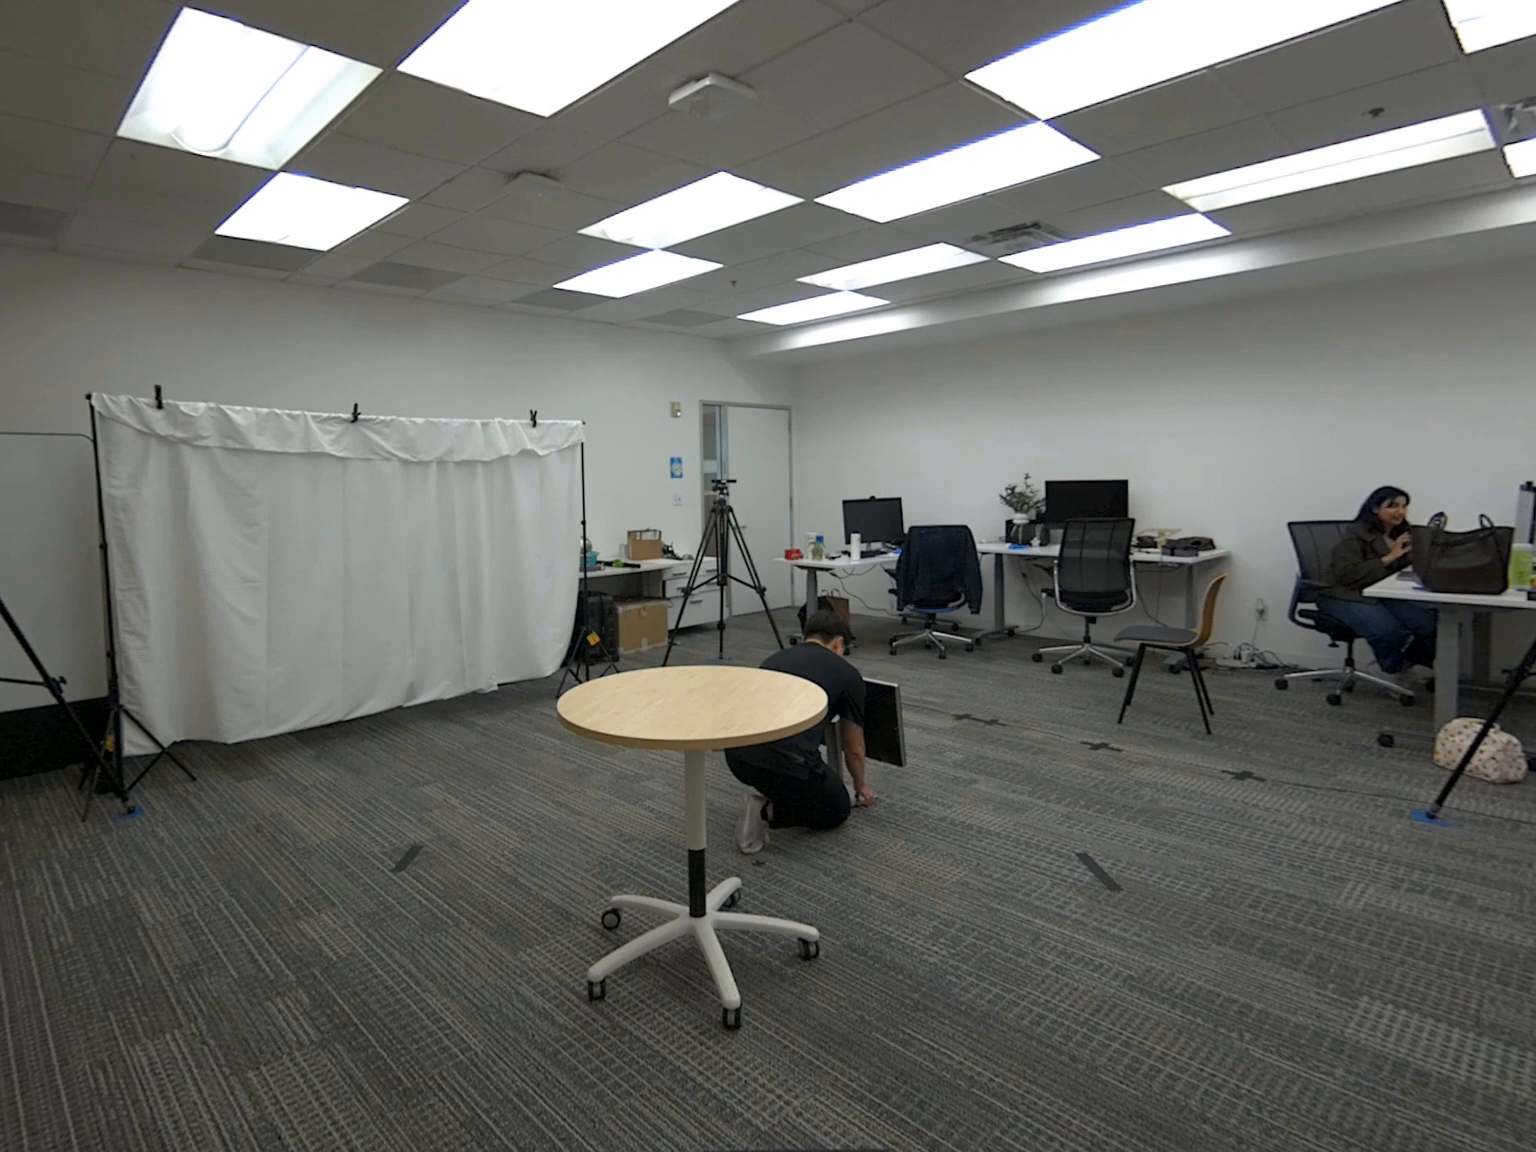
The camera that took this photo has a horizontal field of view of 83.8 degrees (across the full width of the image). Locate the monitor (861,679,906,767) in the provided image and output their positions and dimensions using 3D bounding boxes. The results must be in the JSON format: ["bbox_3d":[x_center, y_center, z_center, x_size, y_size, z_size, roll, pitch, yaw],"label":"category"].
[{"bbox_3d":[0.346,0.697,3.756,0.181,0.522,0.556,3,2,-45],"label":"monitor"}]
